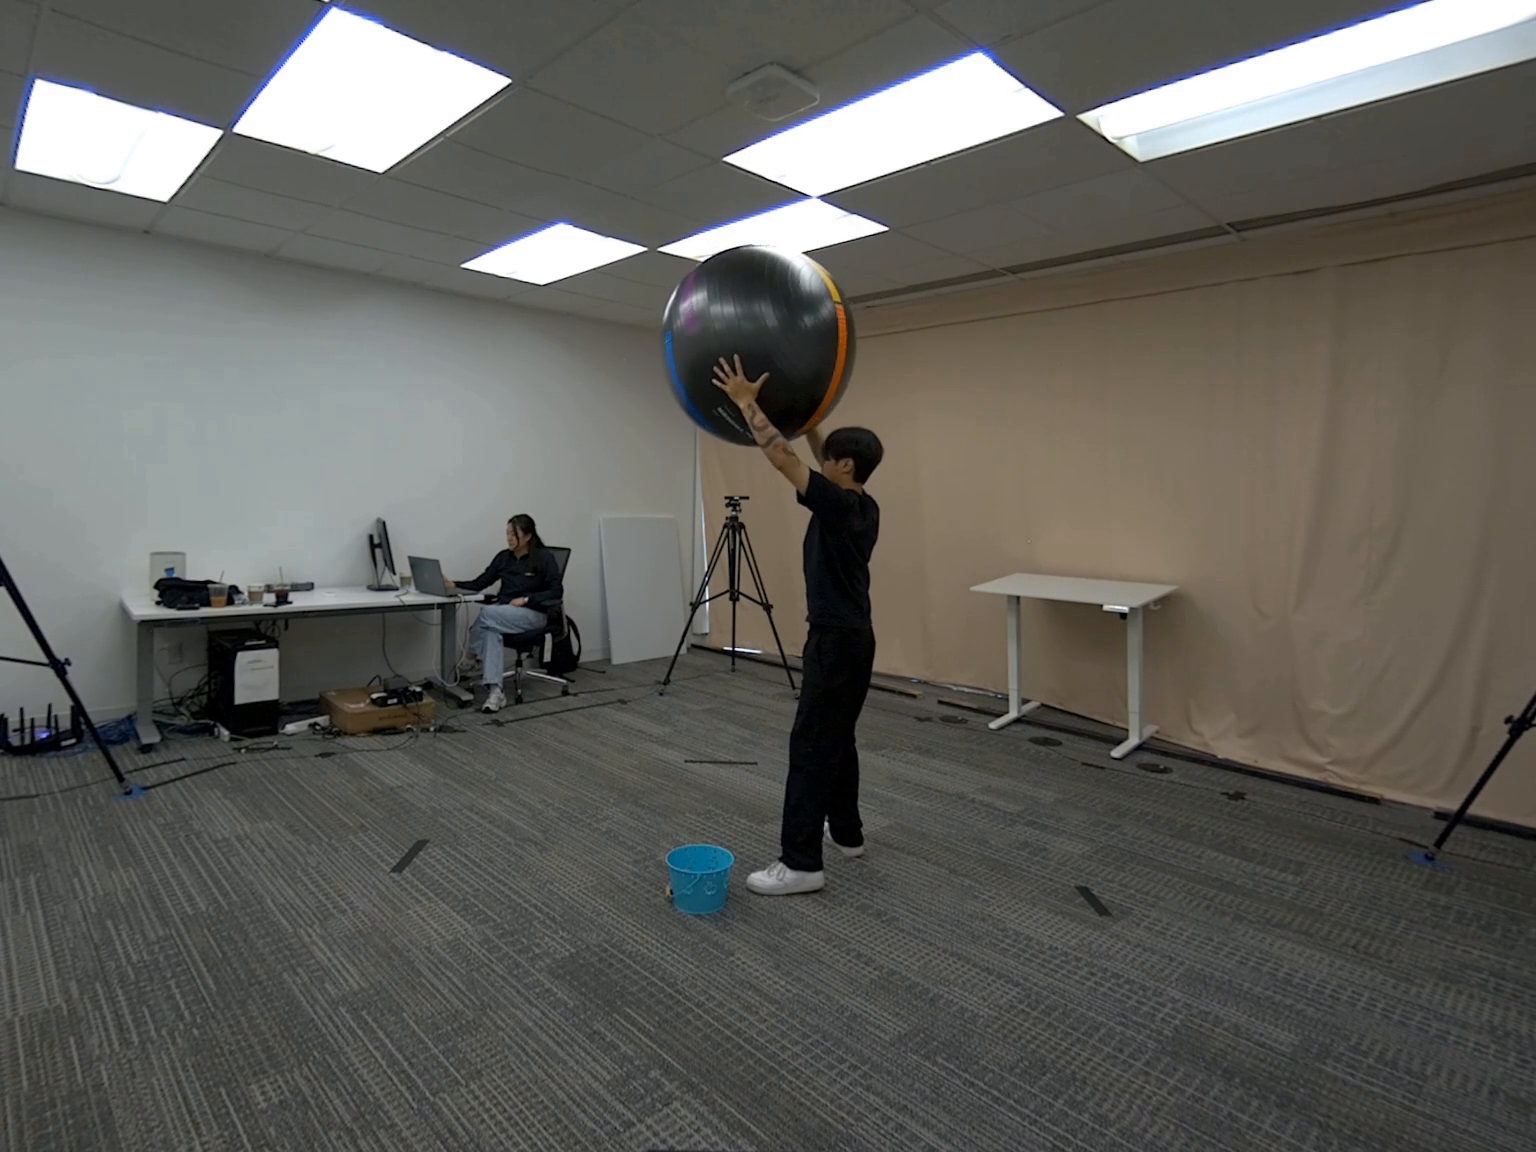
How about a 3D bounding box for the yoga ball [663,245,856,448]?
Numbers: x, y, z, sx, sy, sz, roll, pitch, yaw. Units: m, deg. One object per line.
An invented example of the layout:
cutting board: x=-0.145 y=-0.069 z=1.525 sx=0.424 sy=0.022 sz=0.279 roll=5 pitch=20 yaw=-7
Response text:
yoga ball: x=-0.043 y=-0.878 z=3.251 sx=0.757 sy=0.756 sz=0.761 roll=1 pitch=4 yaw=-1
